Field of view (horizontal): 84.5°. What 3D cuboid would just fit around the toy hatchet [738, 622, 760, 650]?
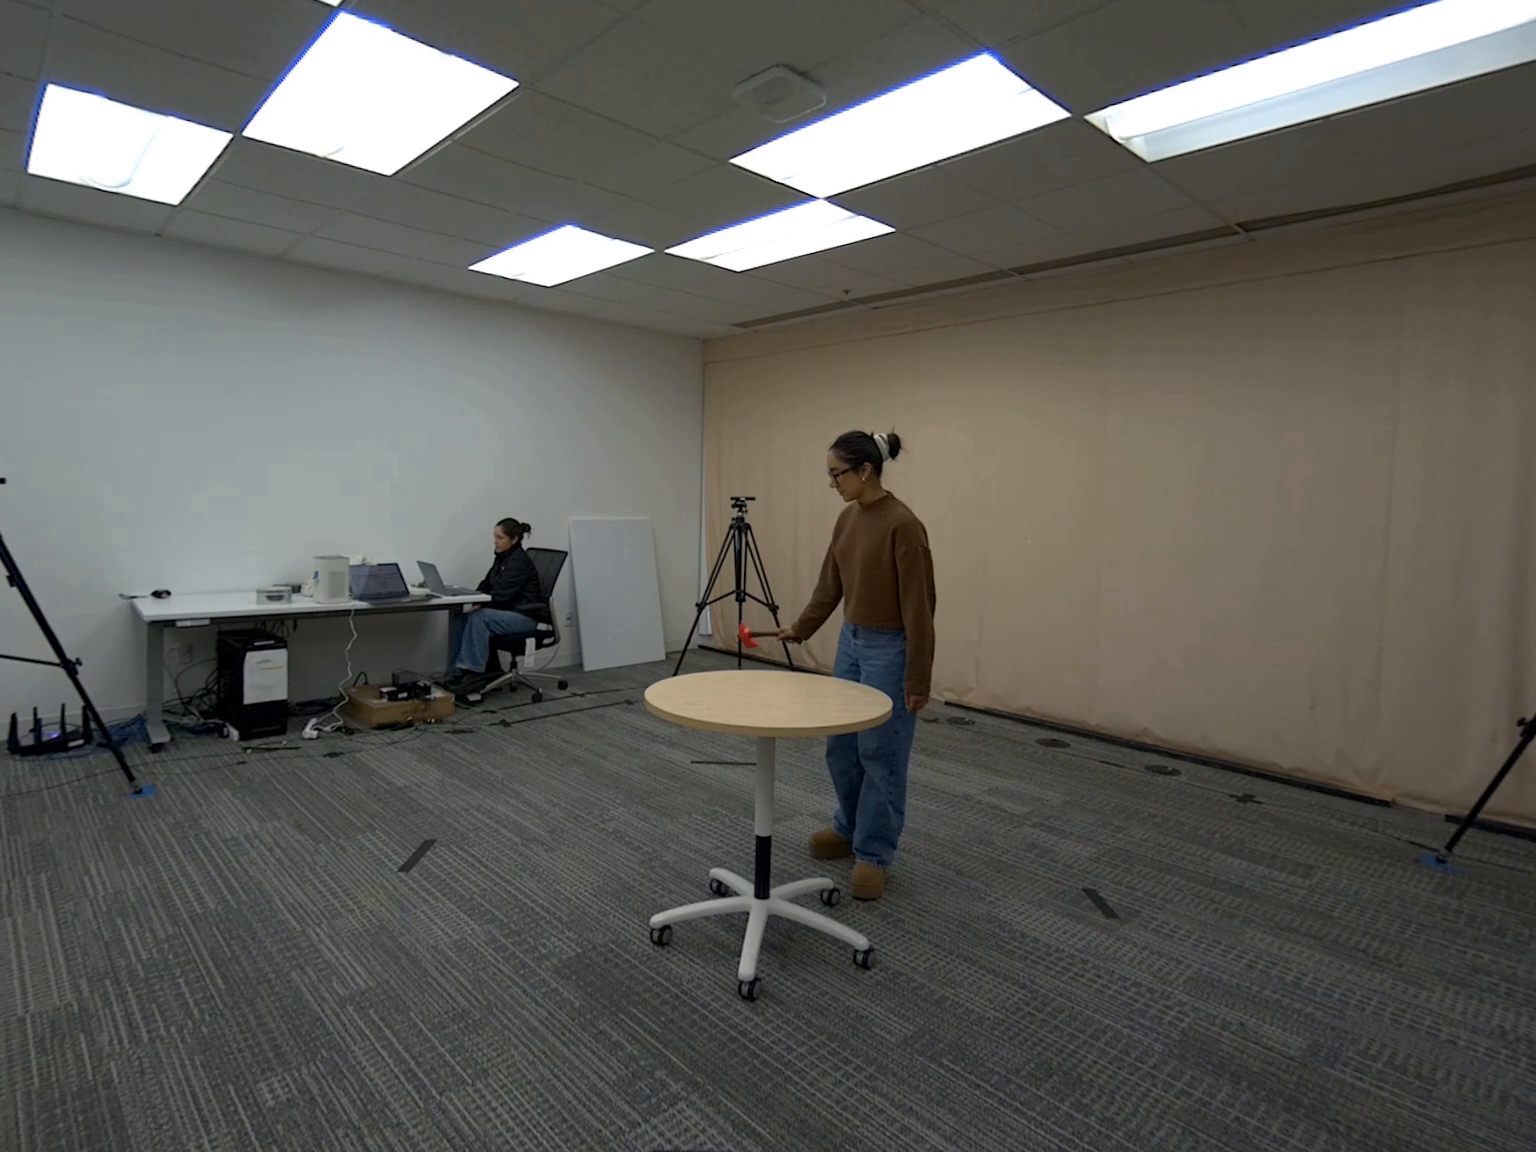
[{"bbox_3d":[-0.001,0.268,3.438,0.274,0.129,0.029,13,31,16],"label":"toy hatchet"}]
